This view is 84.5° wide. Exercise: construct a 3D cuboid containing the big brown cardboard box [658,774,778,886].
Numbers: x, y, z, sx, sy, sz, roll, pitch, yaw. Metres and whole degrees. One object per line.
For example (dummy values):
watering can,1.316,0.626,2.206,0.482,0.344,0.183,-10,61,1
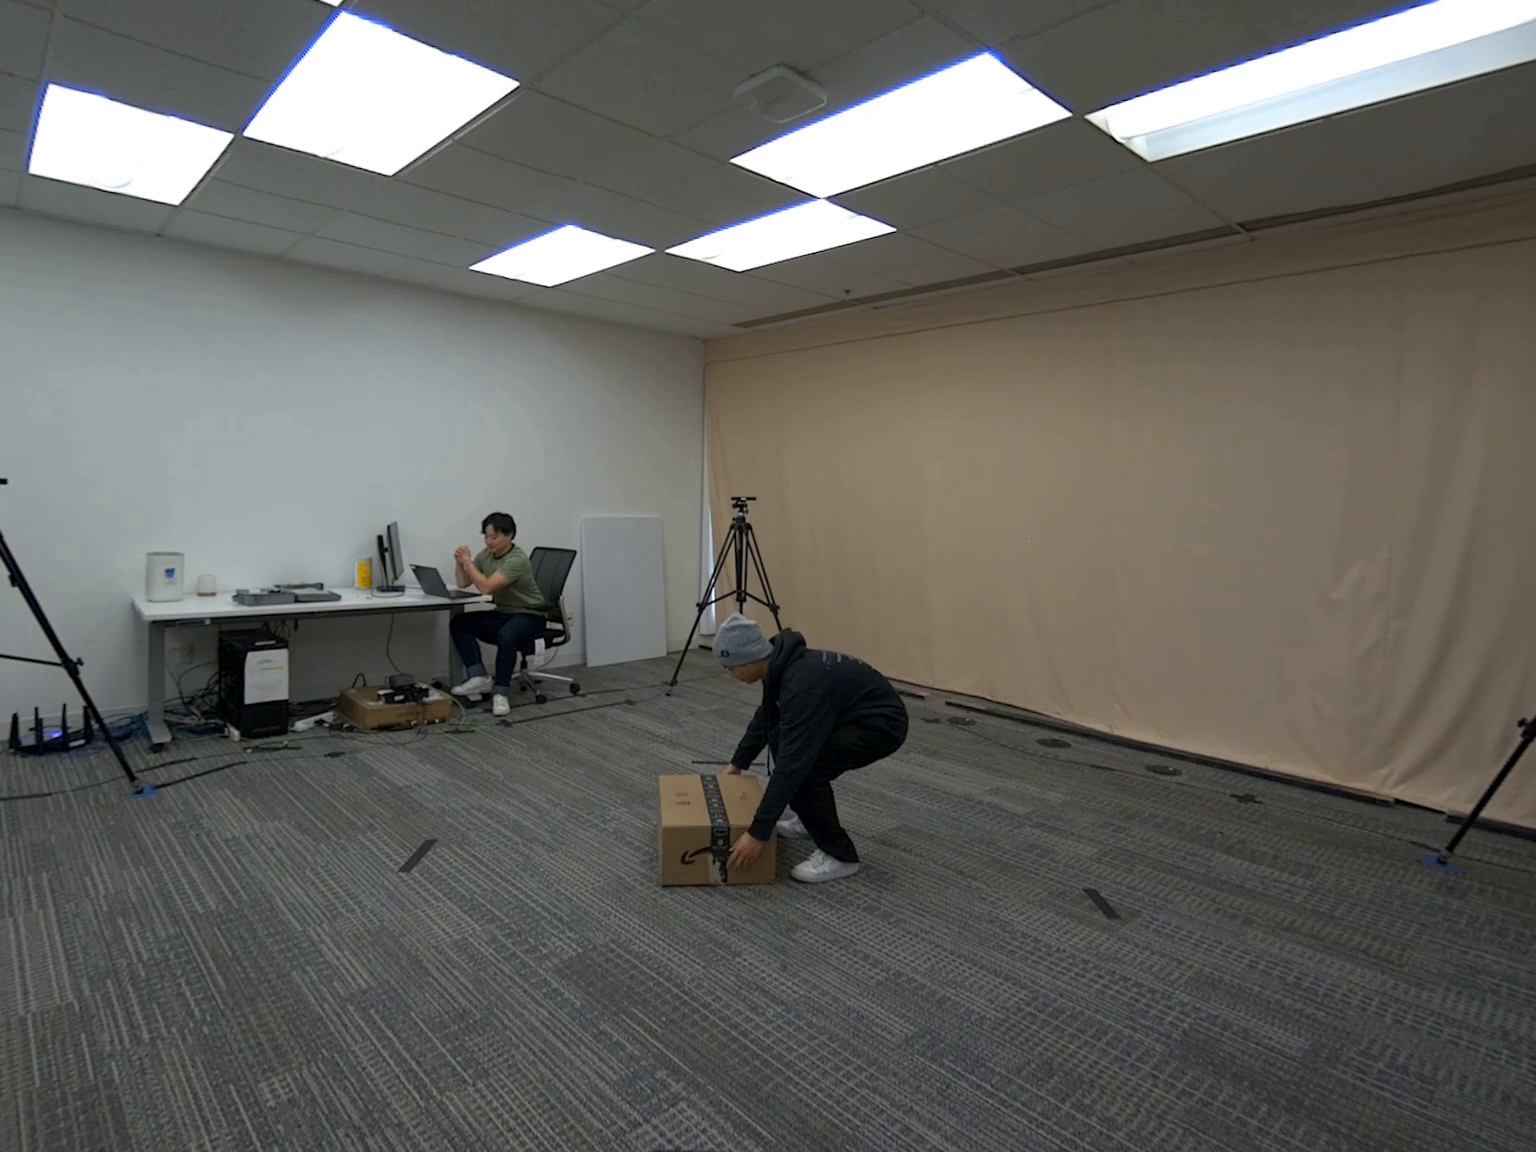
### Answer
big brown cardboard box,-0.226,0.977,3.293,0.415,0.232,0.594,2,4,-9
